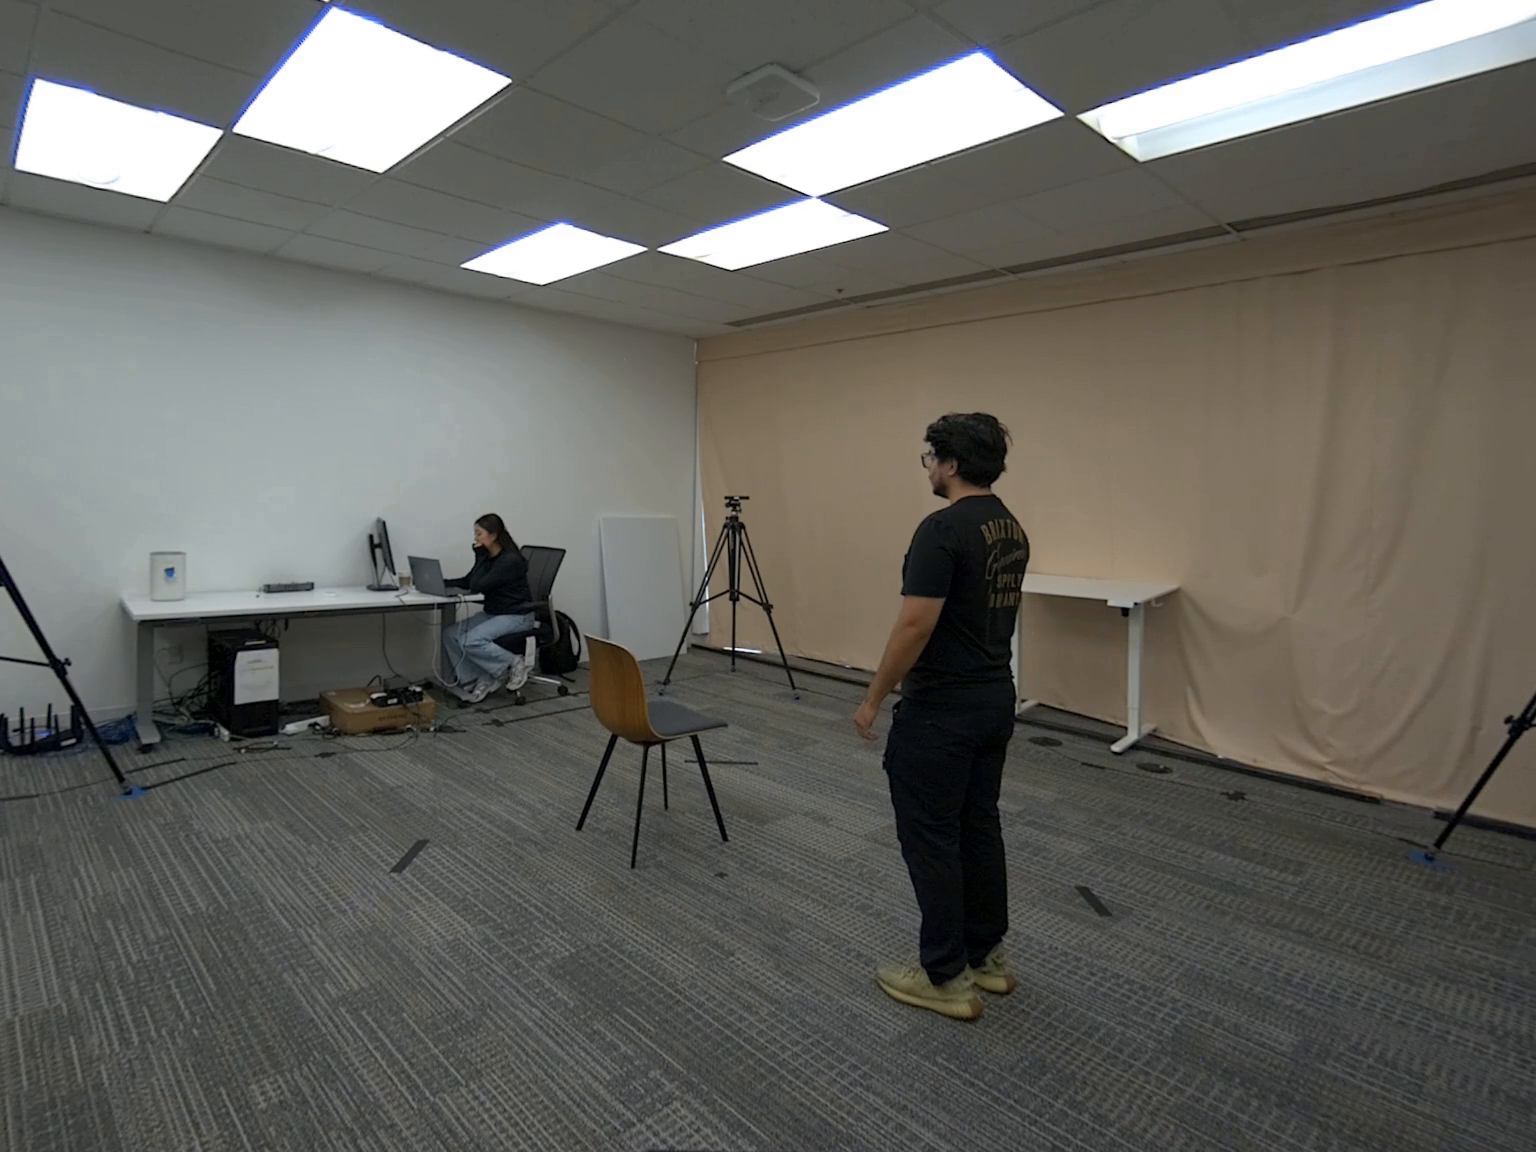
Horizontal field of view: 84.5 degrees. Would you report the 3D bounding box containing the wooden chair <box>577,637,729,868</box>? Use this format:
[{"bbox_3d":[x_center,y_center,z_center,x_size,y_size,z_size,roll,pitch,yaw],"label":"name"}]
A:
[{"bbox_3d":[-0.464,0.639,3.424,0.512,0.873,0.490,-7,7,-38],"label":"wooden chair"}]
